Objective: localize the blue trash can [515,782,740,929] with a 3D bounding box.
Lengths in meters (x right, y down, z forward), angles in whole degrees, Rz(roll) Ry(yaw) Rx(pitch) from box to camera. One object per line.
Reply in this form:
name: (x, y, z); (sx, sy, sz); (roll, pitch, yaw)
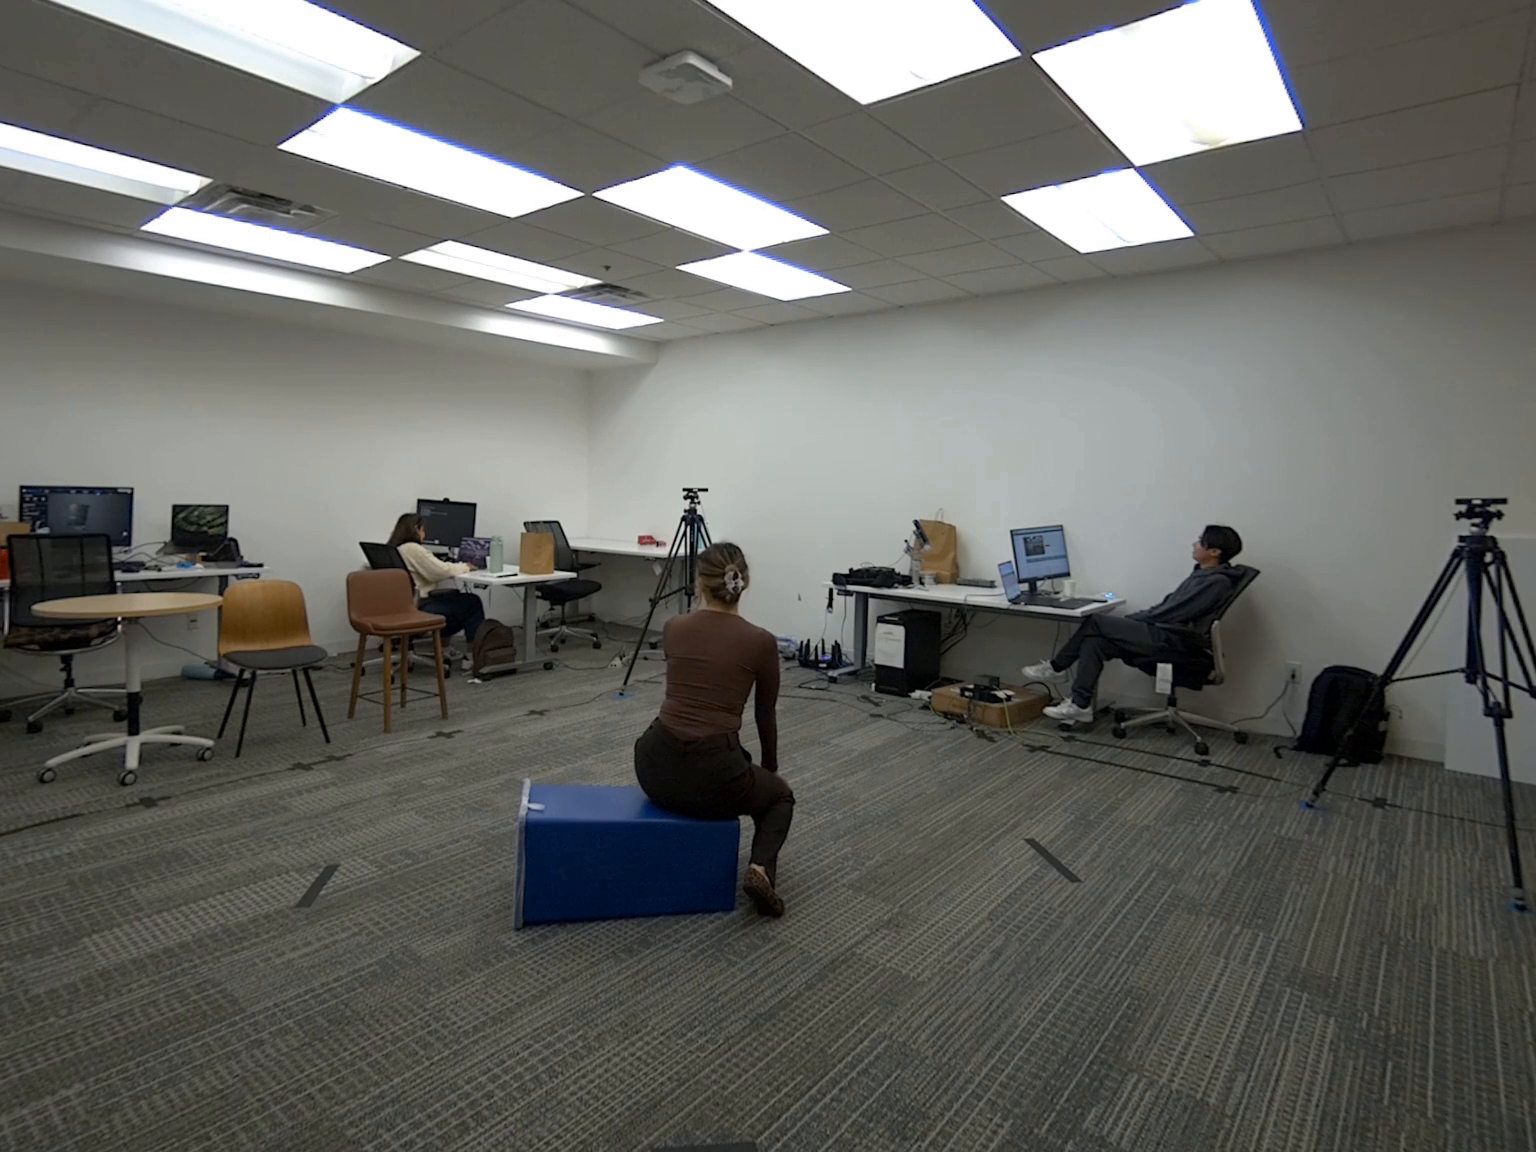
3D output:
blue trash can: (-0.499, 0.917, 2.889); (0.704, 0.377, 0.380); (3, 3, -12)
